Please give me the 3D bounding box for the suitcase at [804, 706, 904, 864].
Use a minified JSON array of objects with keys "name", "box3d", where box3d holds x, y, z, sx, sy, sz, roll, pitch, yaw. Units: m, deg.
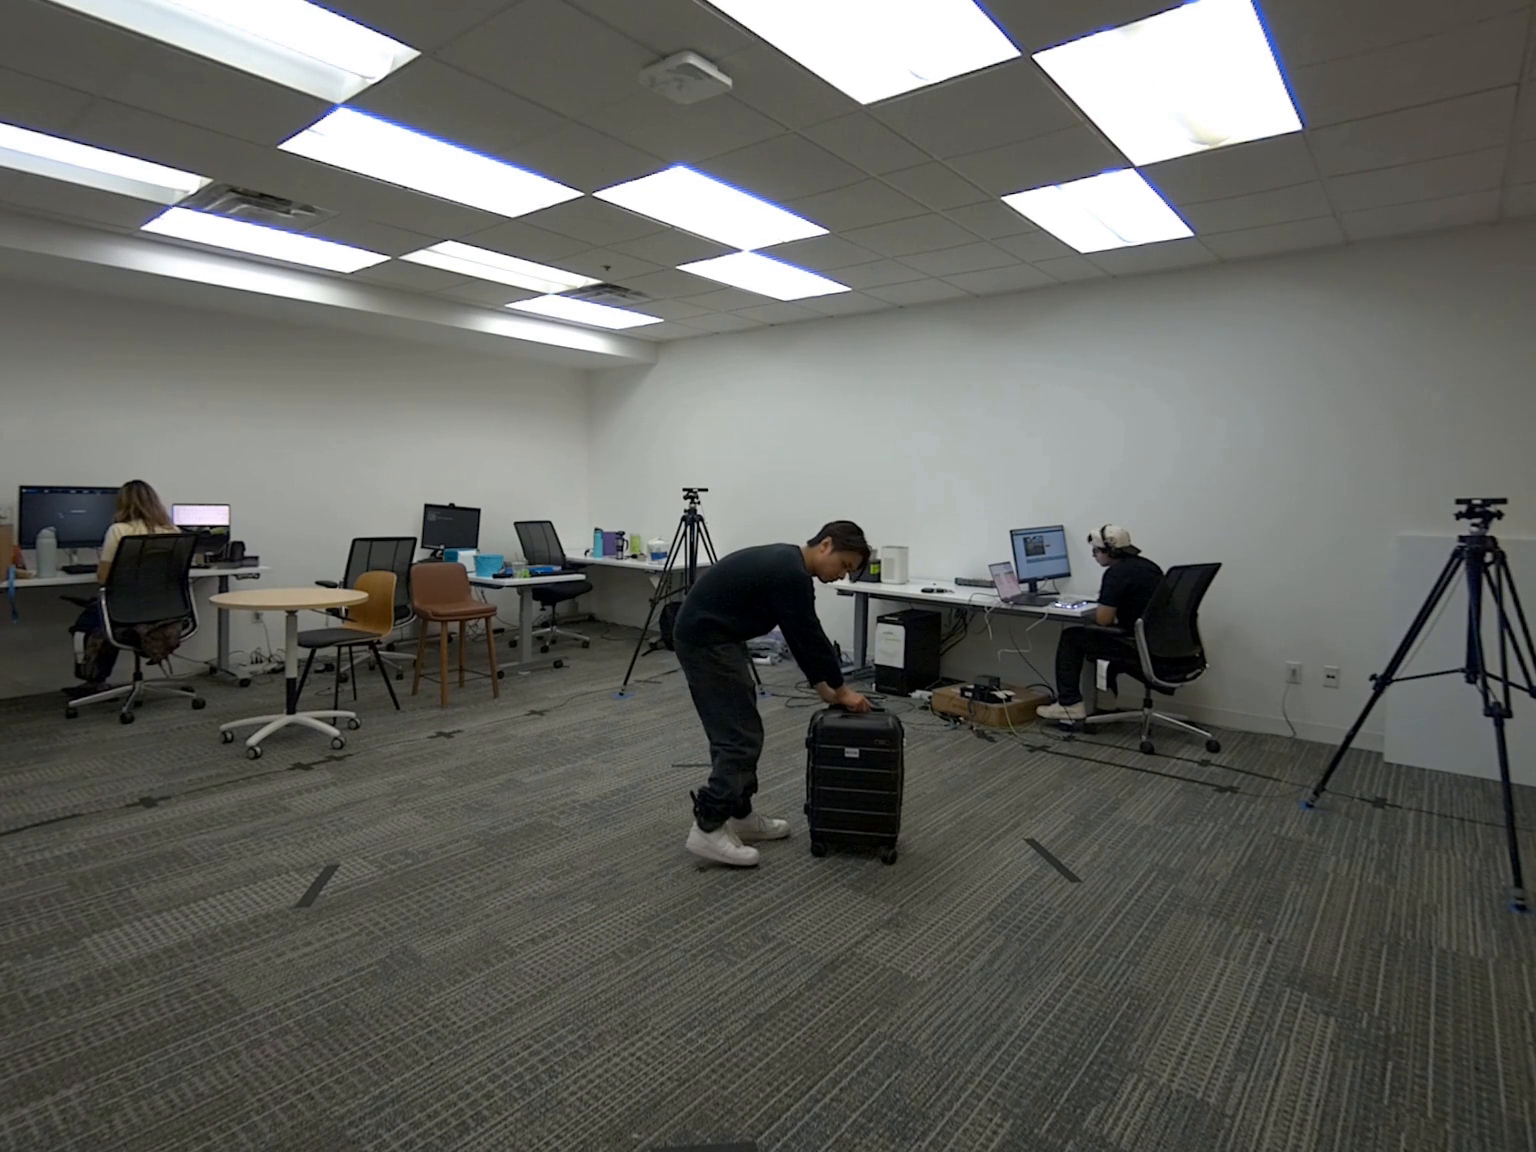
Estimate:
[{"name":"suitcase","box3d":[0.336,0.787,3.333,0.379,0.547,0.247,2,5,8]}]
